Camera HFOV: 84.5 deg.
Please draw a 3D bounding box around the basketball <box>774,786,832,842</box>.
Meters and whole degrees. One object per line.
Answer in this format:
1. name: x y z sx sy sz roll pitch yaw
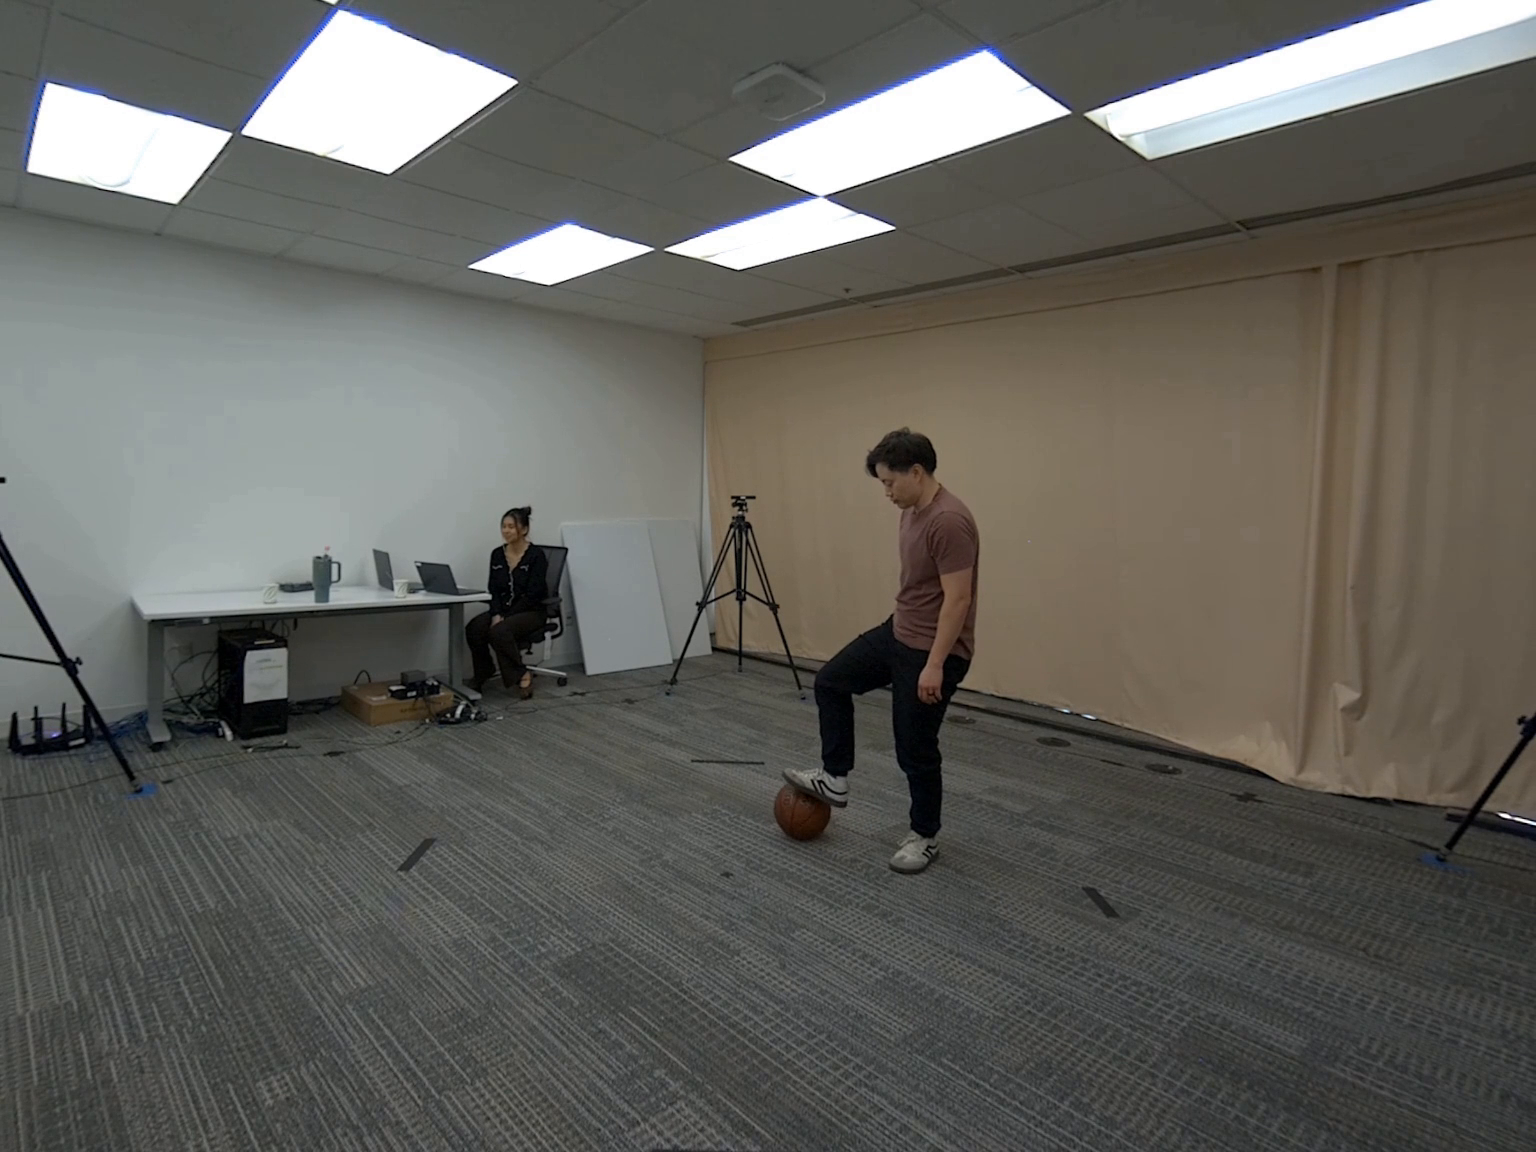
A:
1. basketball: 0.140 0.959 3.467 0.236 0.235 0.237 1 4 -1
